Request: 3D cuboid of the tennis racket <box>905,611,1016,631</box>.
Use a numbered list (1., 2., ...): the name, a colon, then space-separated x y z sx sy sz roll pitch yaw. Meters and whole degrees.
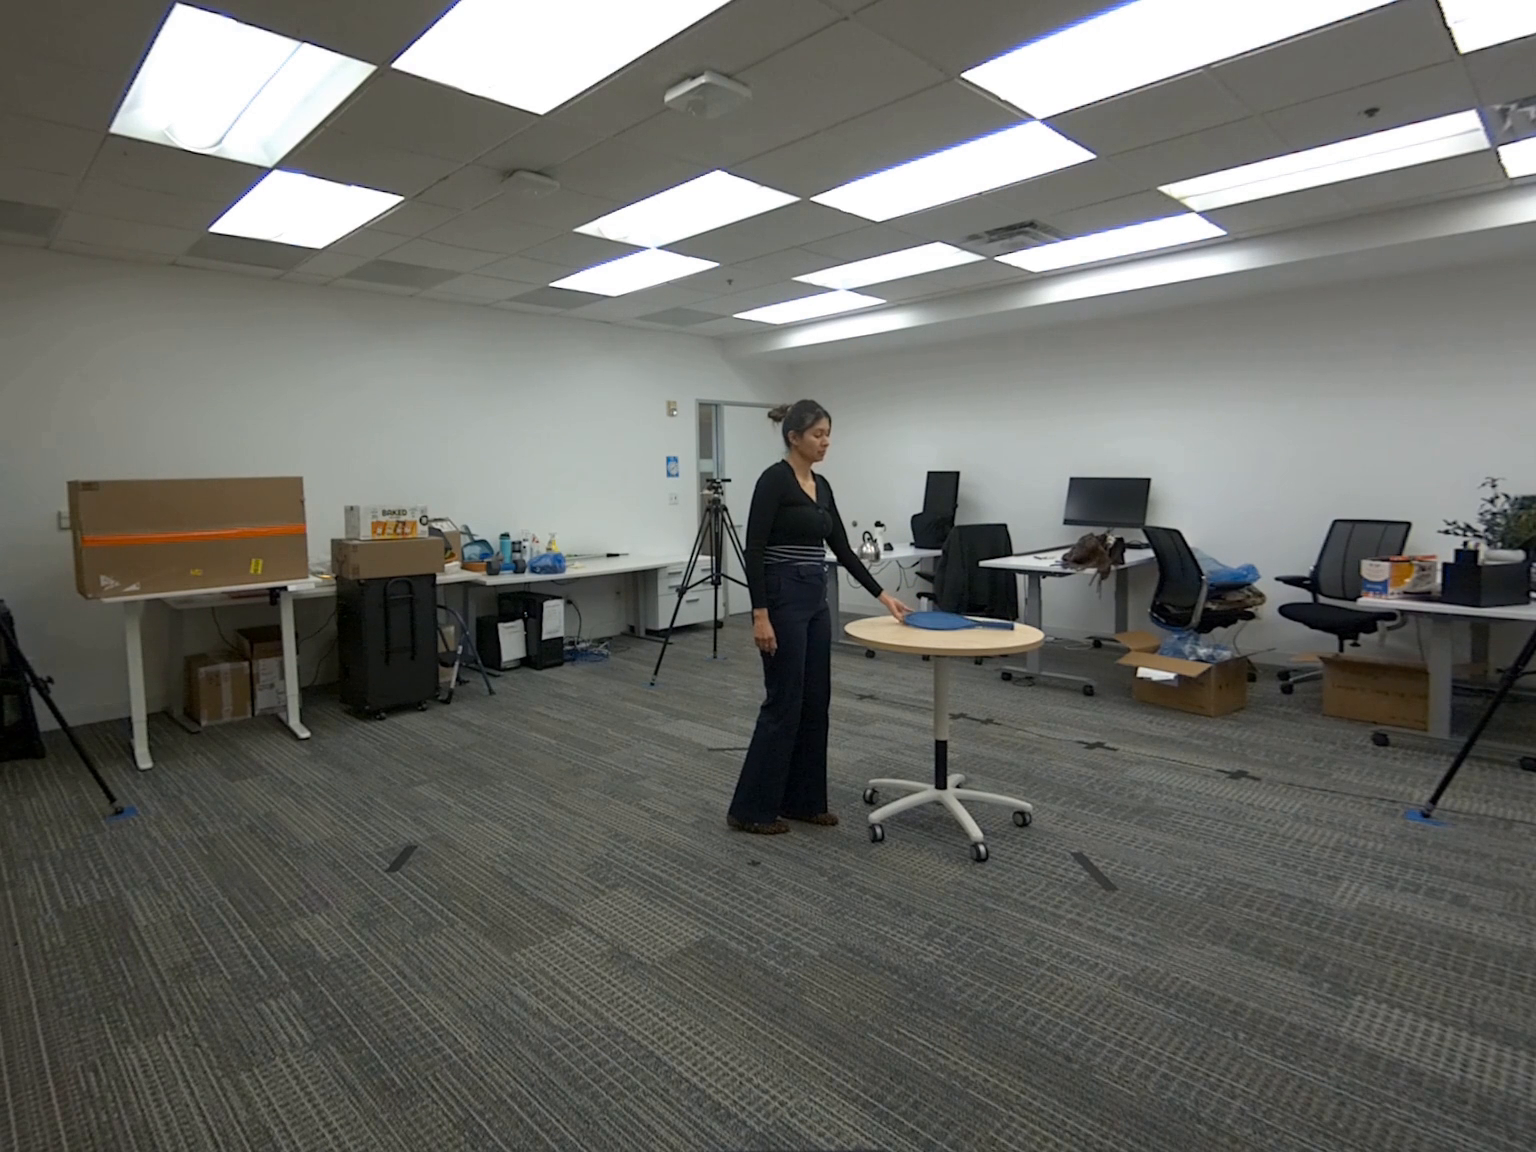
1. tennis racket: 0.772 0.188 3.458 0.439 0.031 0.213 2 14 13
